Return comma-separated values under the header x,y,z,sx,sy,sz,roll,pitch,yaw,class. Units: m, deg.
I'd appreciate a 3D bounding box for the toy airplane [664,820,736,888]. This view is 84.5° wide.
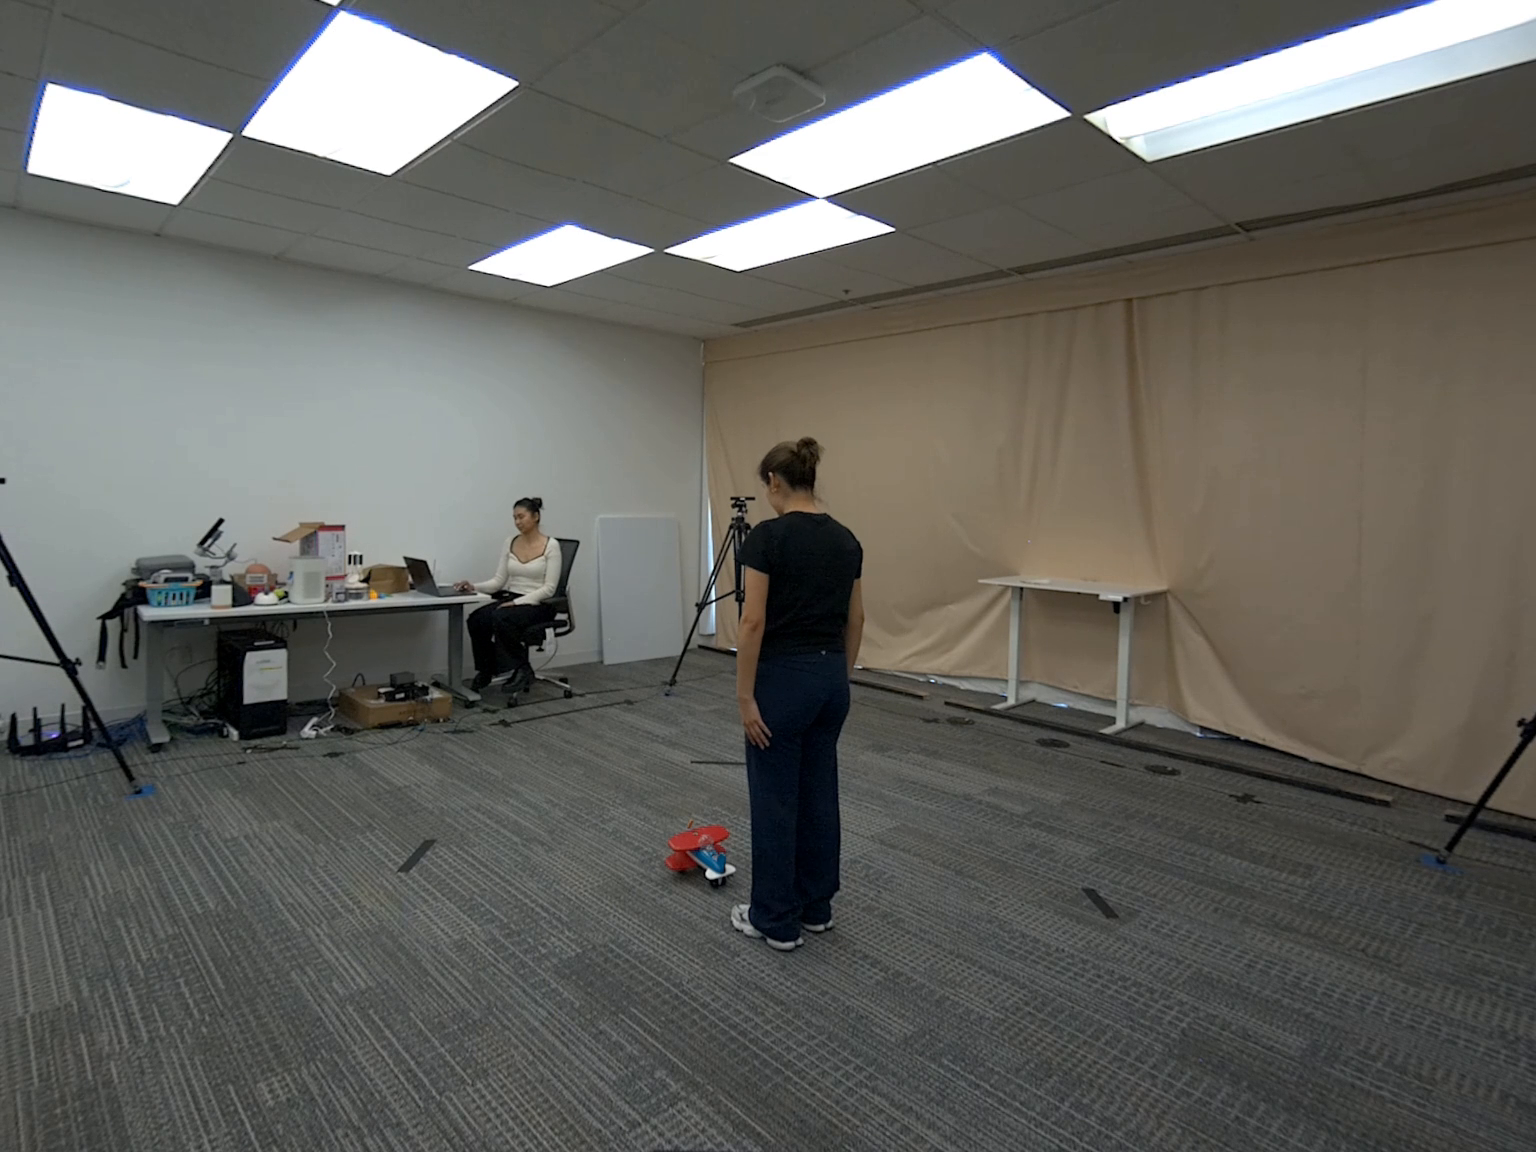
x,y,z,sx,sy,sz,roll,pitch,yaw,class
-0.229,1.031,3.086,0.264,0.156,0.247,1,5,23,toy airplane
